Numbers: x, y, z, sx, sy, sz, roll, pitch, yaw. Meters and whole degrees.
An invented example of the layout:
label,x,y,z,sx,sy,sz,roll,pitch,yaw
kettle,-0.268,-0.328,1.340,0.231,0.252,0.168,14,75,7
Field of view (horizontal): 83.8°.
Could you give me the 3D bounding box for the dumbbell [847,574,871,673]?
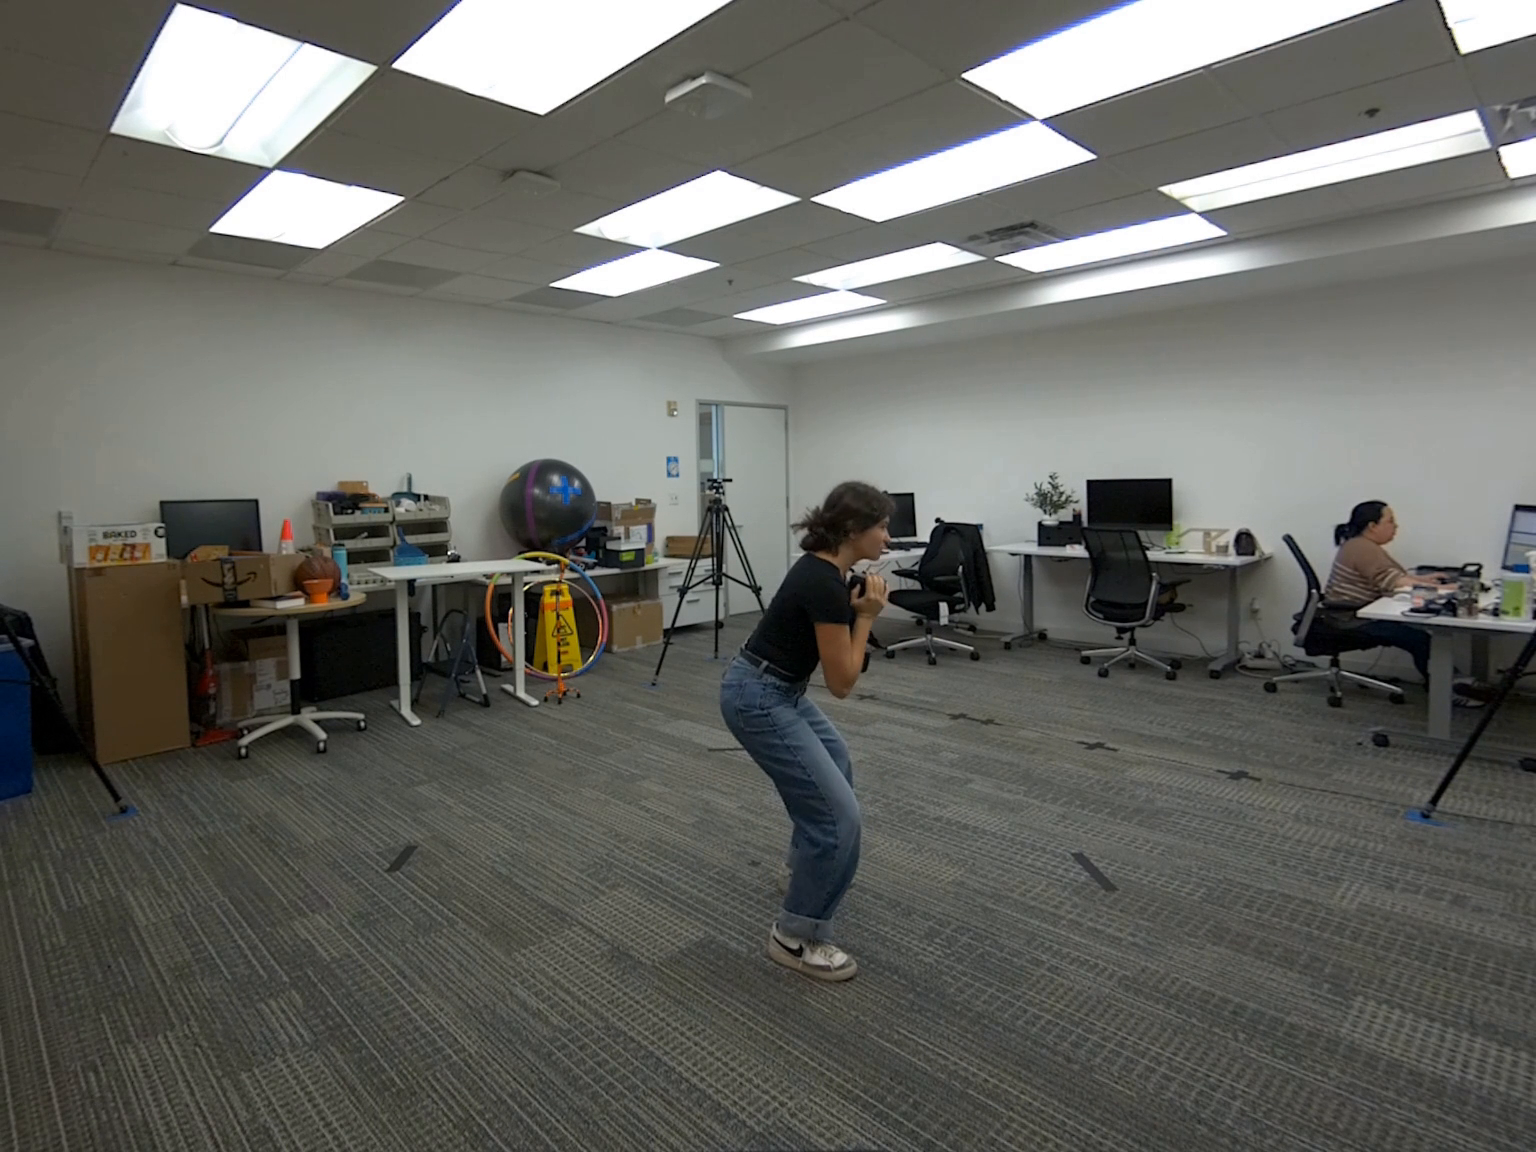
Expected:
label,x,y,z,sx,sy,sz,roll,pitch,yaw
dumbbell,0.255,0.146,2.604,0.127,0.292,0.105,18,8,38
